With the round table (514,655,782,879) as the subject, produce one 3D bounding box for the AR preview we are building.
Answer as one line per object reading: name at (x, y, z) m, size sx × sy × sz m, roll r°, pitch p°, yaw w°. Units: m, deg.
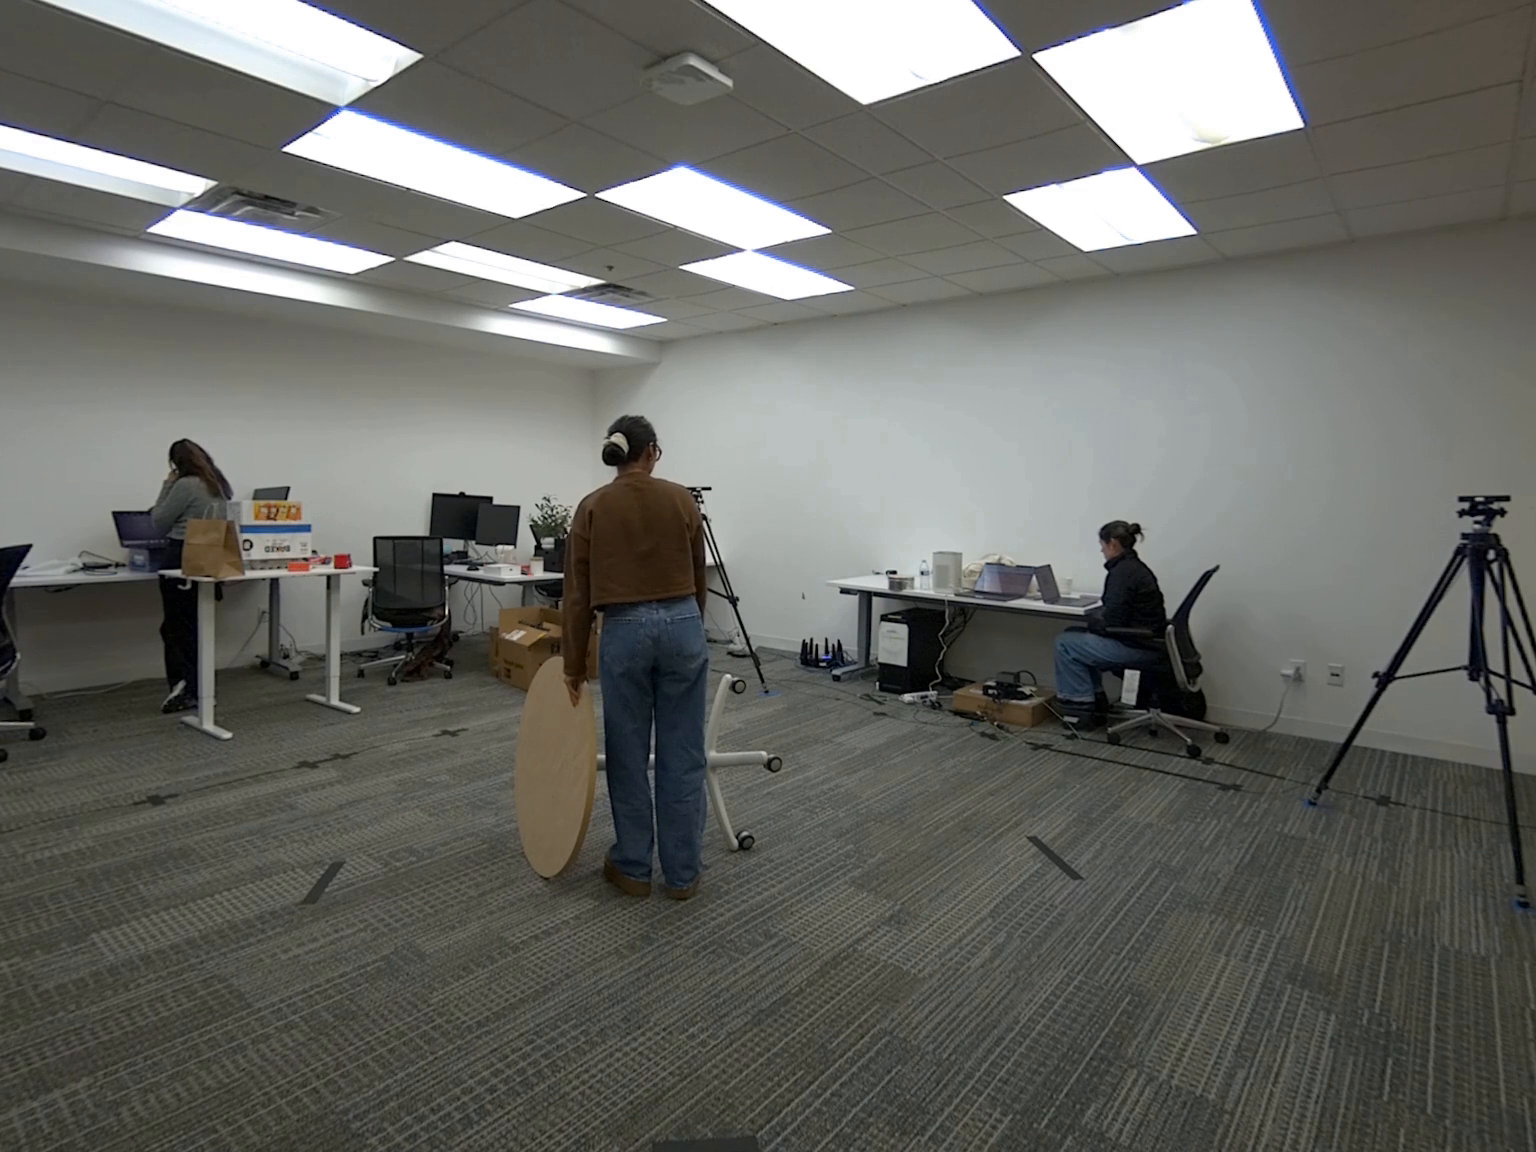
round table at (-0.481, 0.713, 3.277) m, size 0.769 × 0.764 × 0.788 m, roll 7°, pitch 0°, yaw -32°
